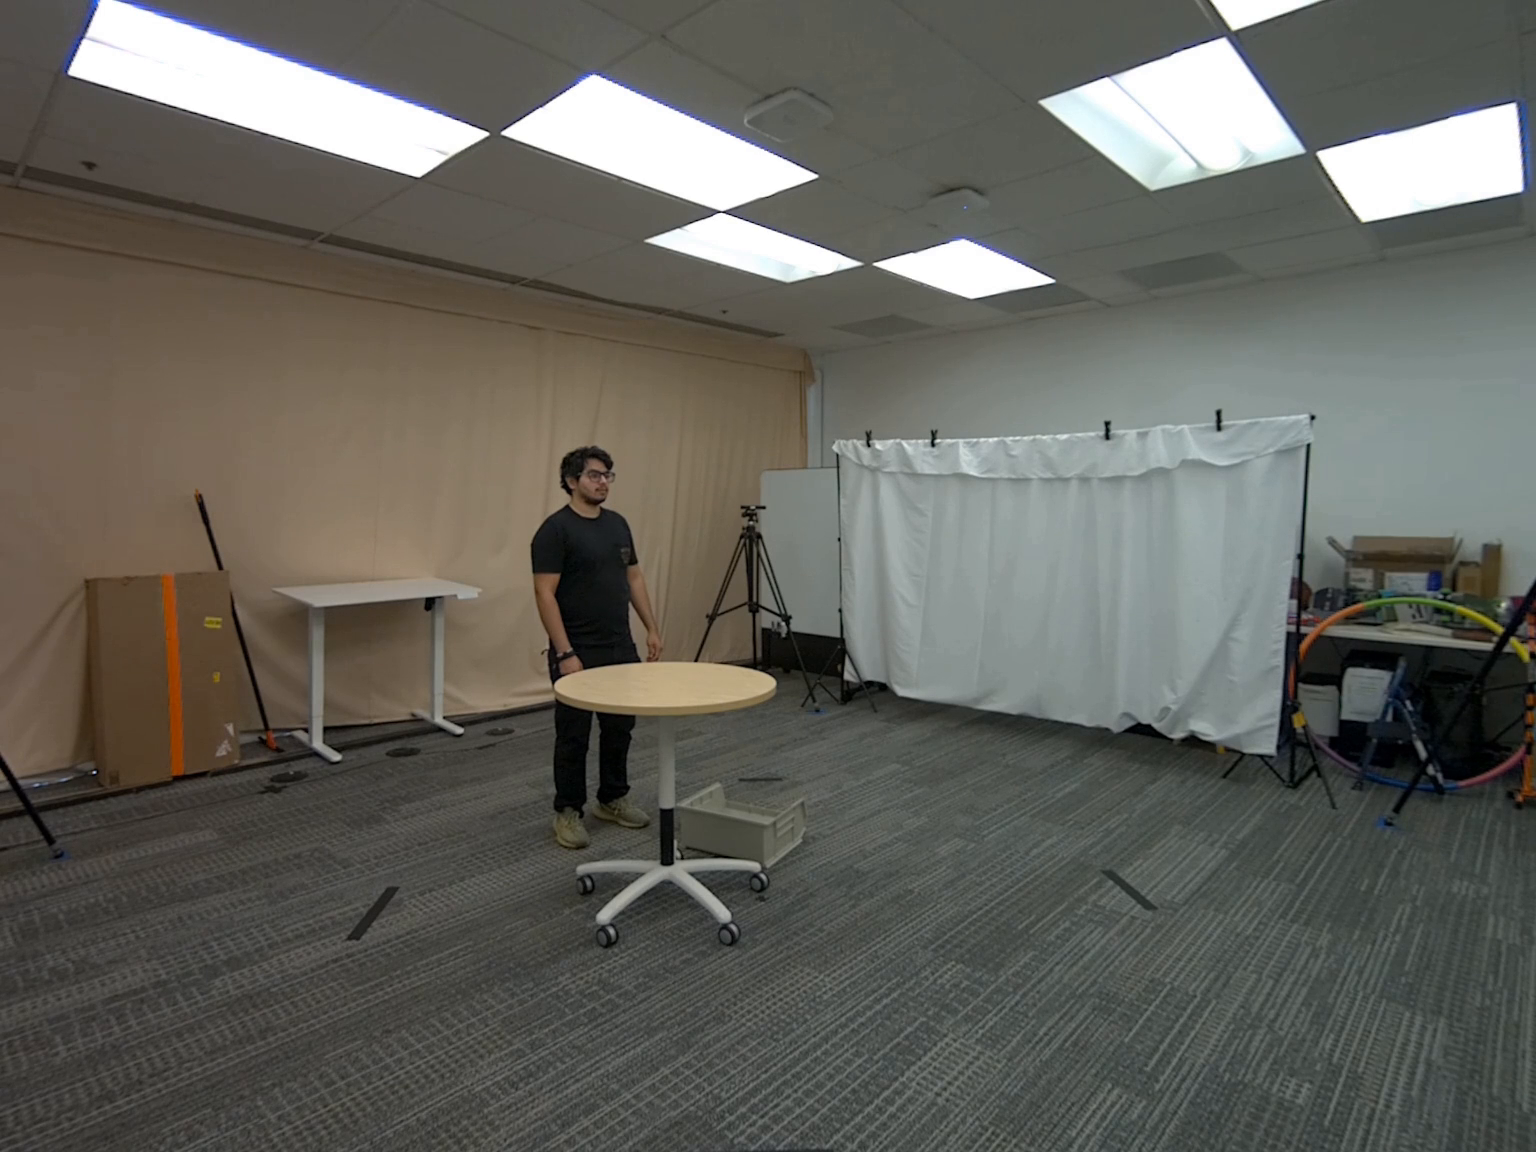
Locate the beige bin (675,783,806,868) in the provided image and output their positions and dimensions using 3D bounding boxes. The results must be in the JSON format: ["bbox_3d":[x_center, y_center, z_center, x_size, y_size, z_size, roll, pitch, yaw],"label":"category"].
[{"bbox_3d":[-0.104,1.015,3.478,0.434,0.188,0.368,2,6,29],"label":"beige bin"}]
